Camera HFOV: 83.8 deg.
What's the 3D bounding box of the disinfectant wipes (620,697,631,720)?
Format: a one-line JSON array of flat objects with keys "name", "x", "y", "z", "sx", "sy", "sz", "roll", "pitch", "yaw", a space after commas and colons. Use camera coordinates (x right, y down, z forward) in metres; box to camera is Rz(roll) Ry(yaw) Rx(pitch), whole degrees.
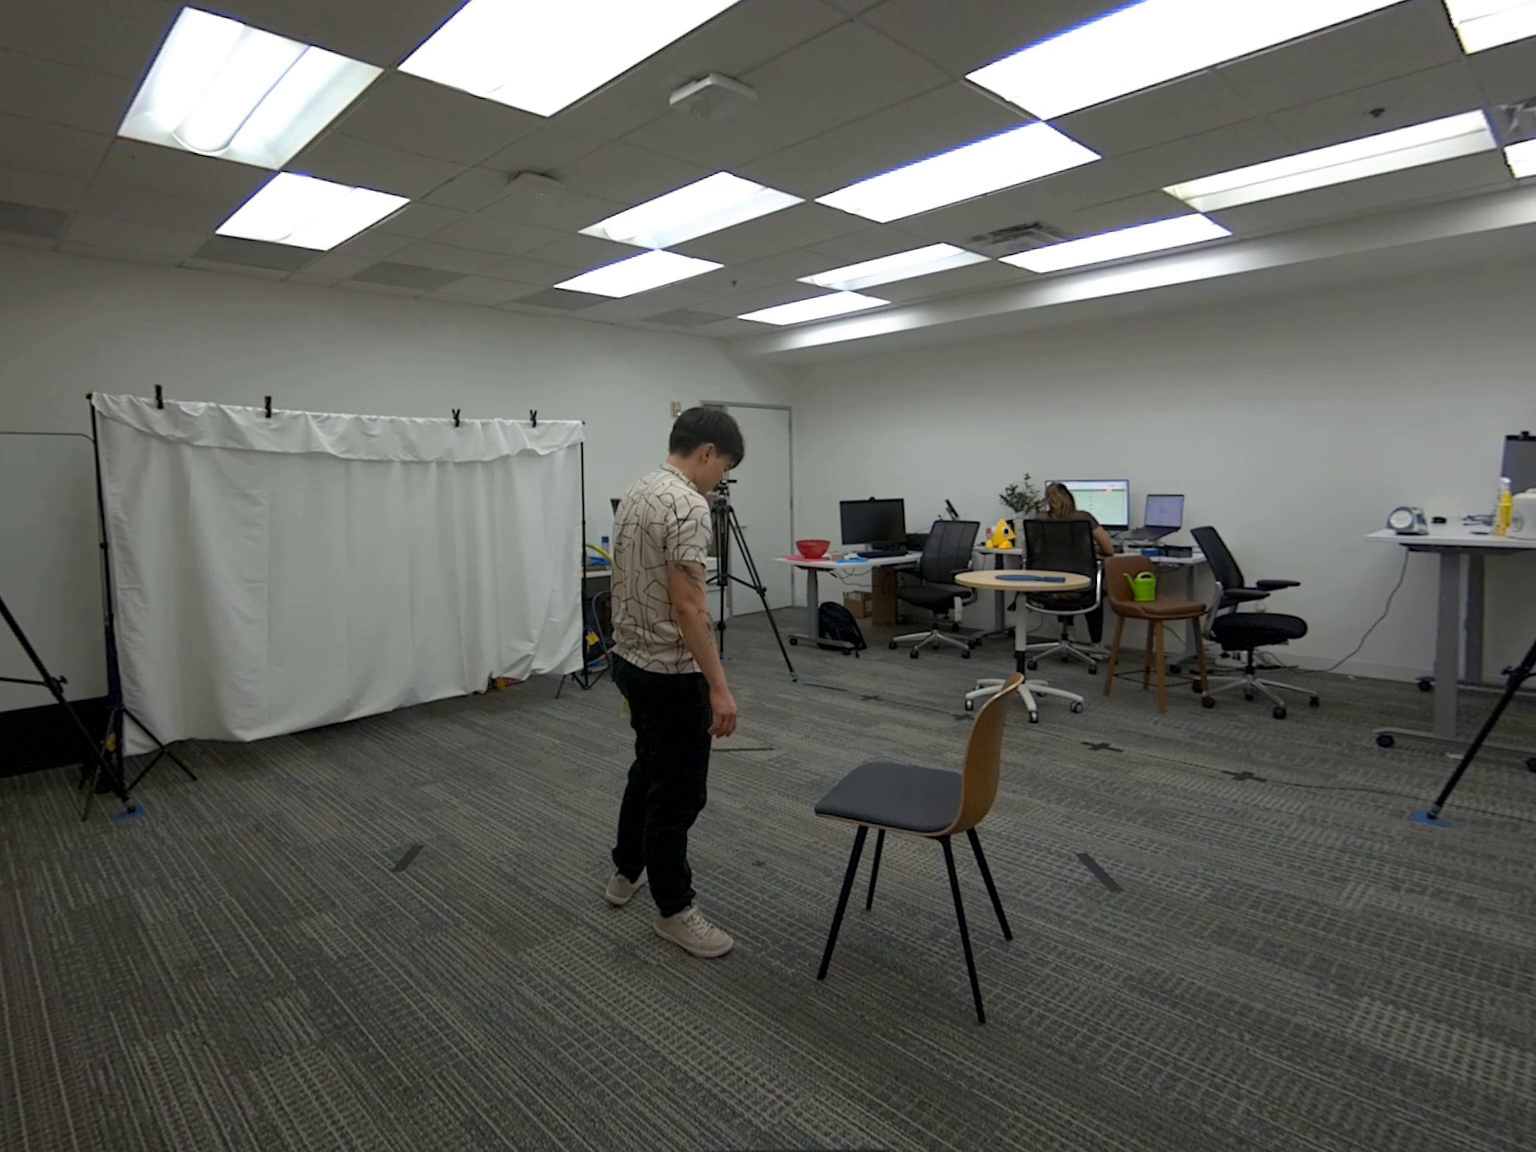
[{"name": "disinfectant wipes", "x": -0.457, "y": 0.403, "z": 3.001, "sx": 0.118, "sy": 0.218, "sz": 0.117, "roll": 5, "pitch": -4, "yaw": -1}]
